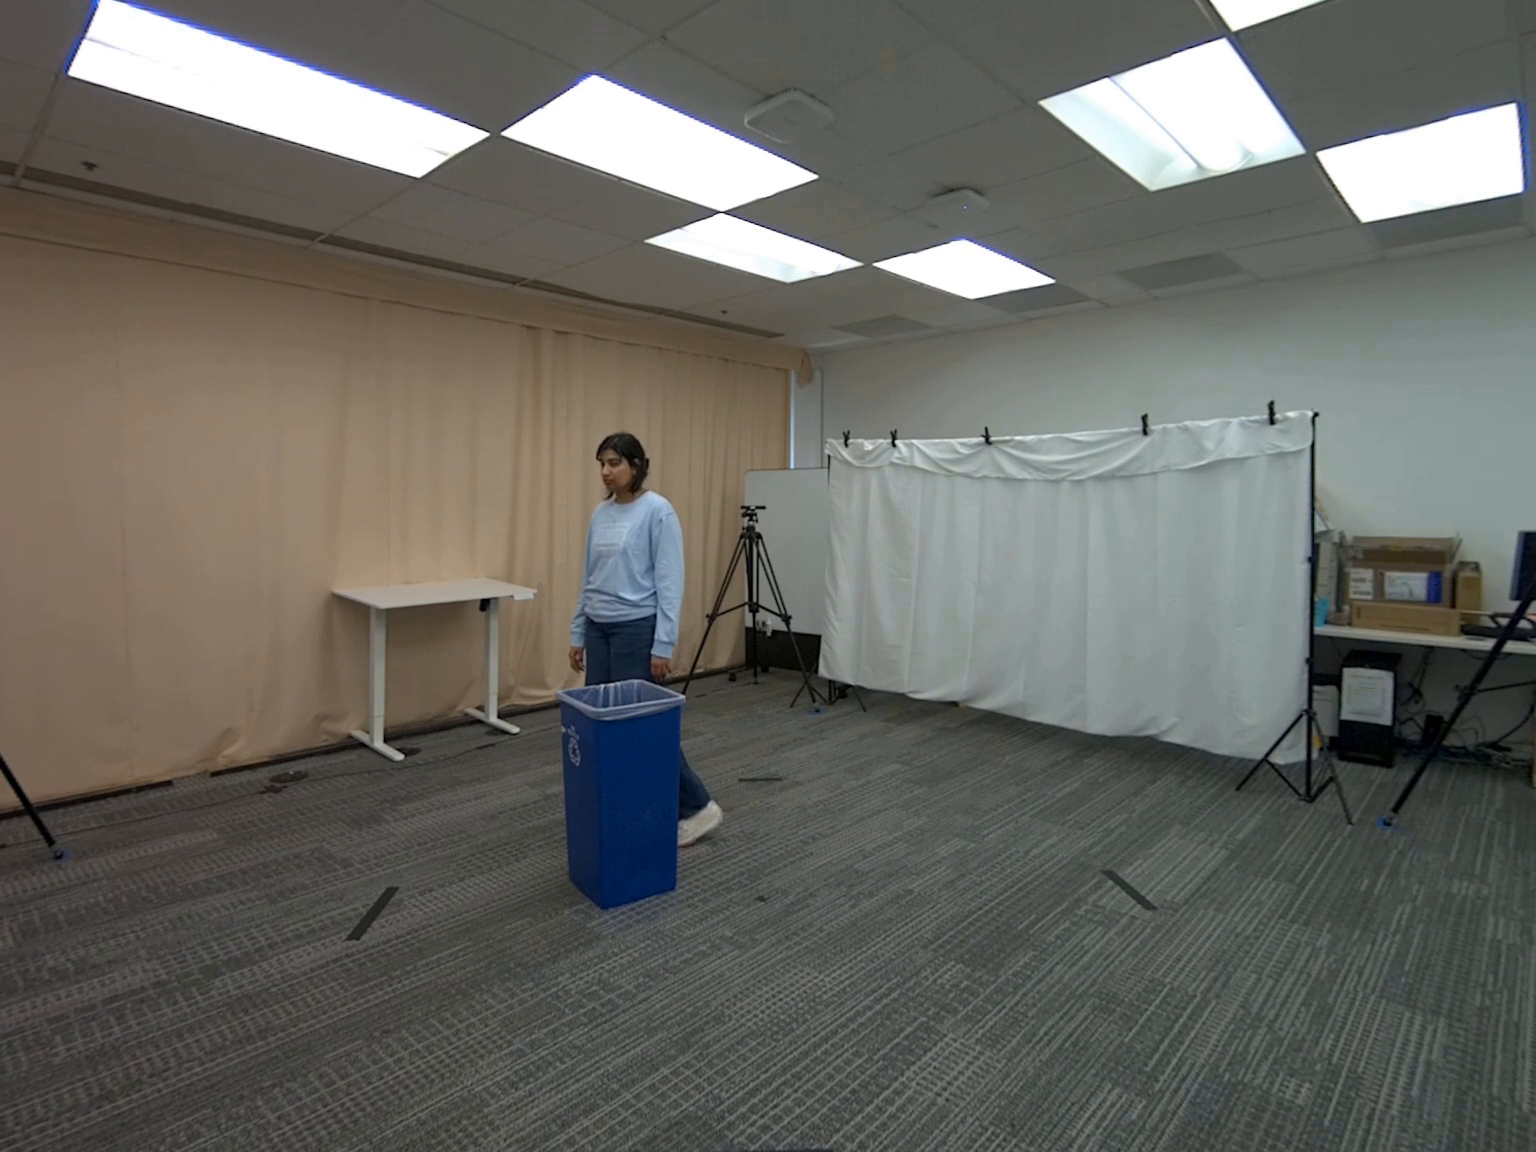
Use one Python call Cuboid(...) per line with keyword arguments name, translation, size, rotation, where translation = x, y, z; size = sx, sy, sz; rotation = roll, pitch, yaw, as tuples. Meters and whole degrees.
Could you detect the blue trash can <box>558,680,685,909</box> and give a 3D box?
Cuboid(name="blue trash can", translation=(-0.534, 0.783, 3.084), size=(0.367, 0.712, 0.386), rotation=(-3, 4, -36))
